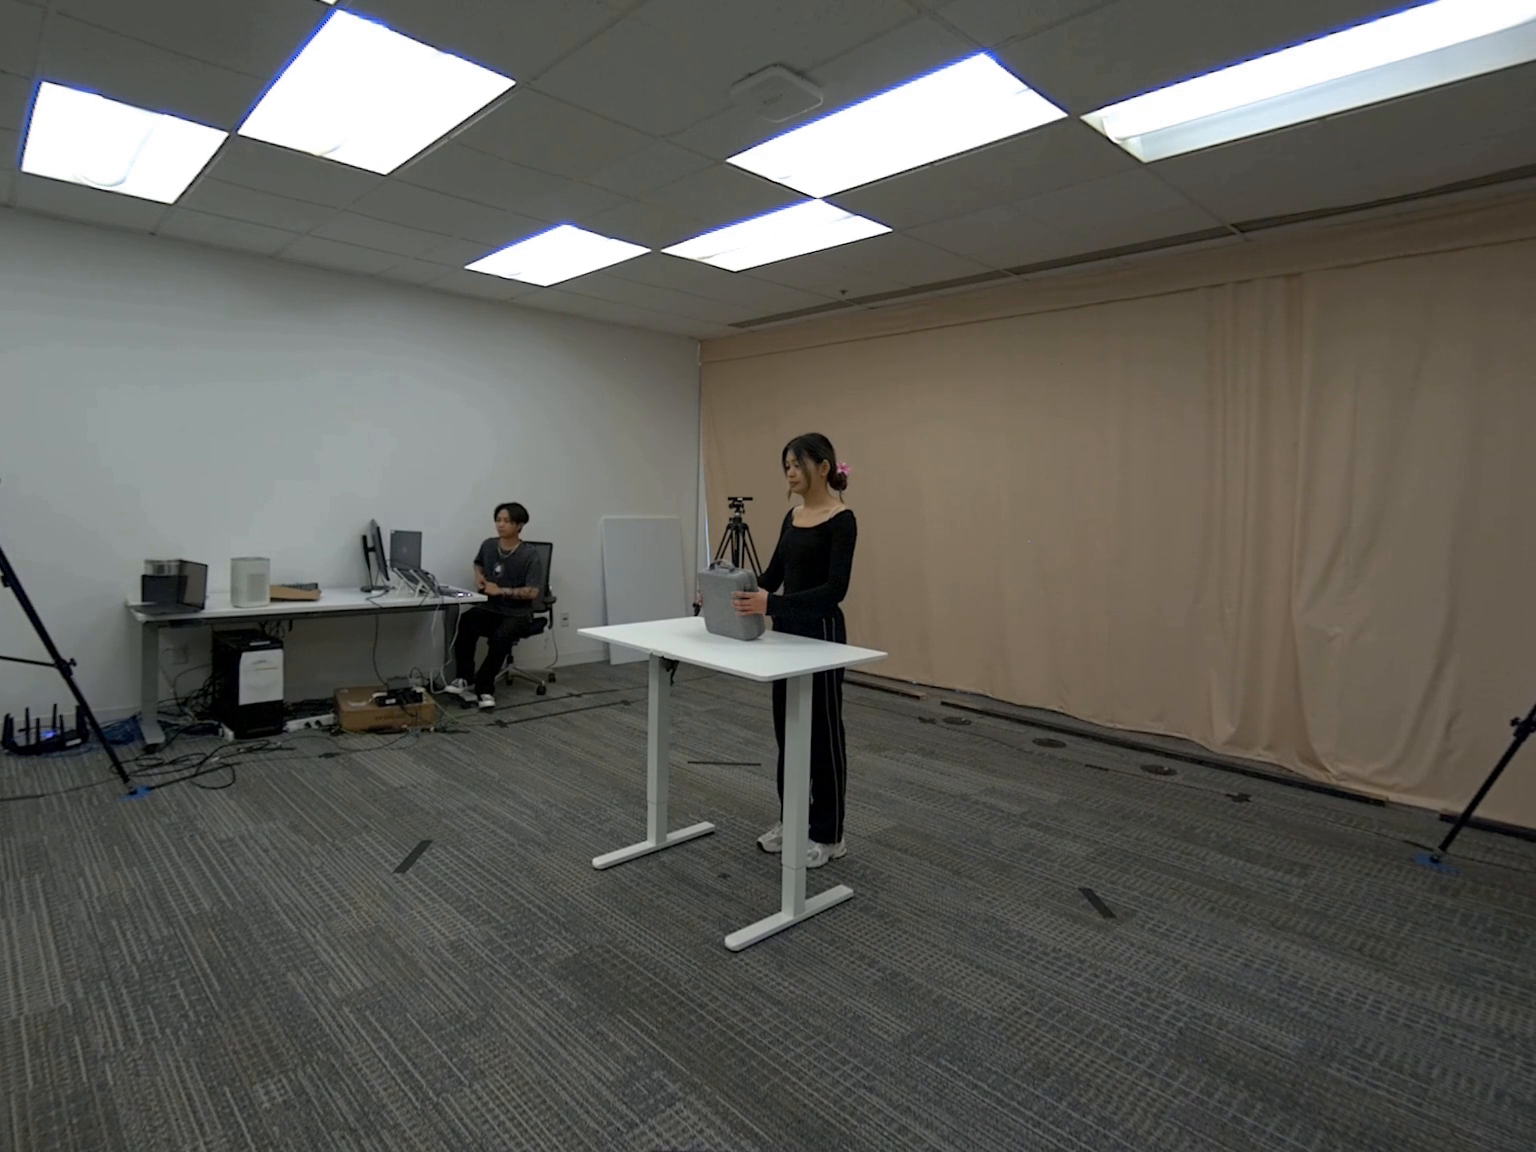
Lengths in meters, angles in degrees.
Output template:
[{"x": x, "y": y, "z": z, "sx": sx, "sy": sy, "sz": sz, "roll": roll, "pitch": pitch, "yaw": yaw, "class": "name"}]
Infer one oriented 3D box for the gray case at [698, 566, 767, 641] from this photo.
[{"x": -0.142, "y": 0.095, "z": 3.096, "sx": 0.103, "sy": 0.258, "sz": 0.263, "roll": -17, "pitch": 14, "yaw": -35, "class": "gray case"}]
